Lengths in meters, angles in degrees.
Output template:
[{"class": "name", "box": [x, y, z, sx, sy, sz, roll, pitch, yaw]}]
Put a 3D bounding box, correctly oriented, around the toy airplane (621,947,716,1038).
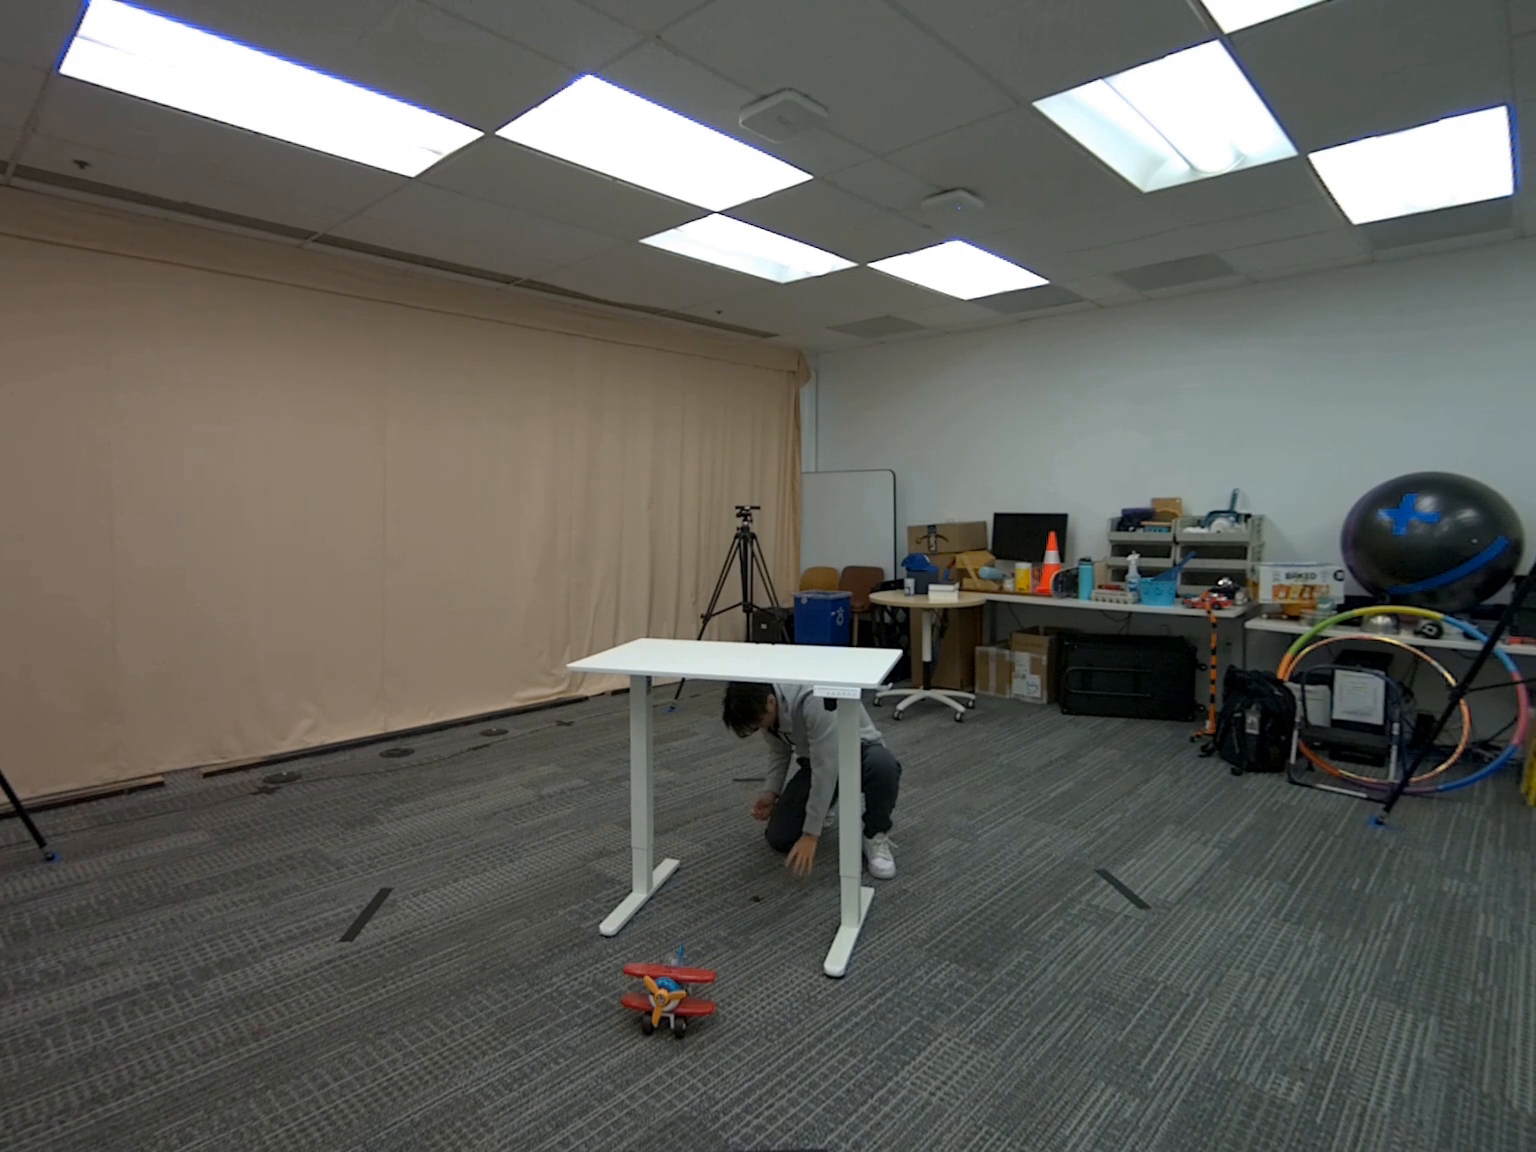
[{"class": "toy airplane", "box": [-0.278, 1.133, 2.295, 0.246, 0.156, 0.265, -2, 6, -20]}]
